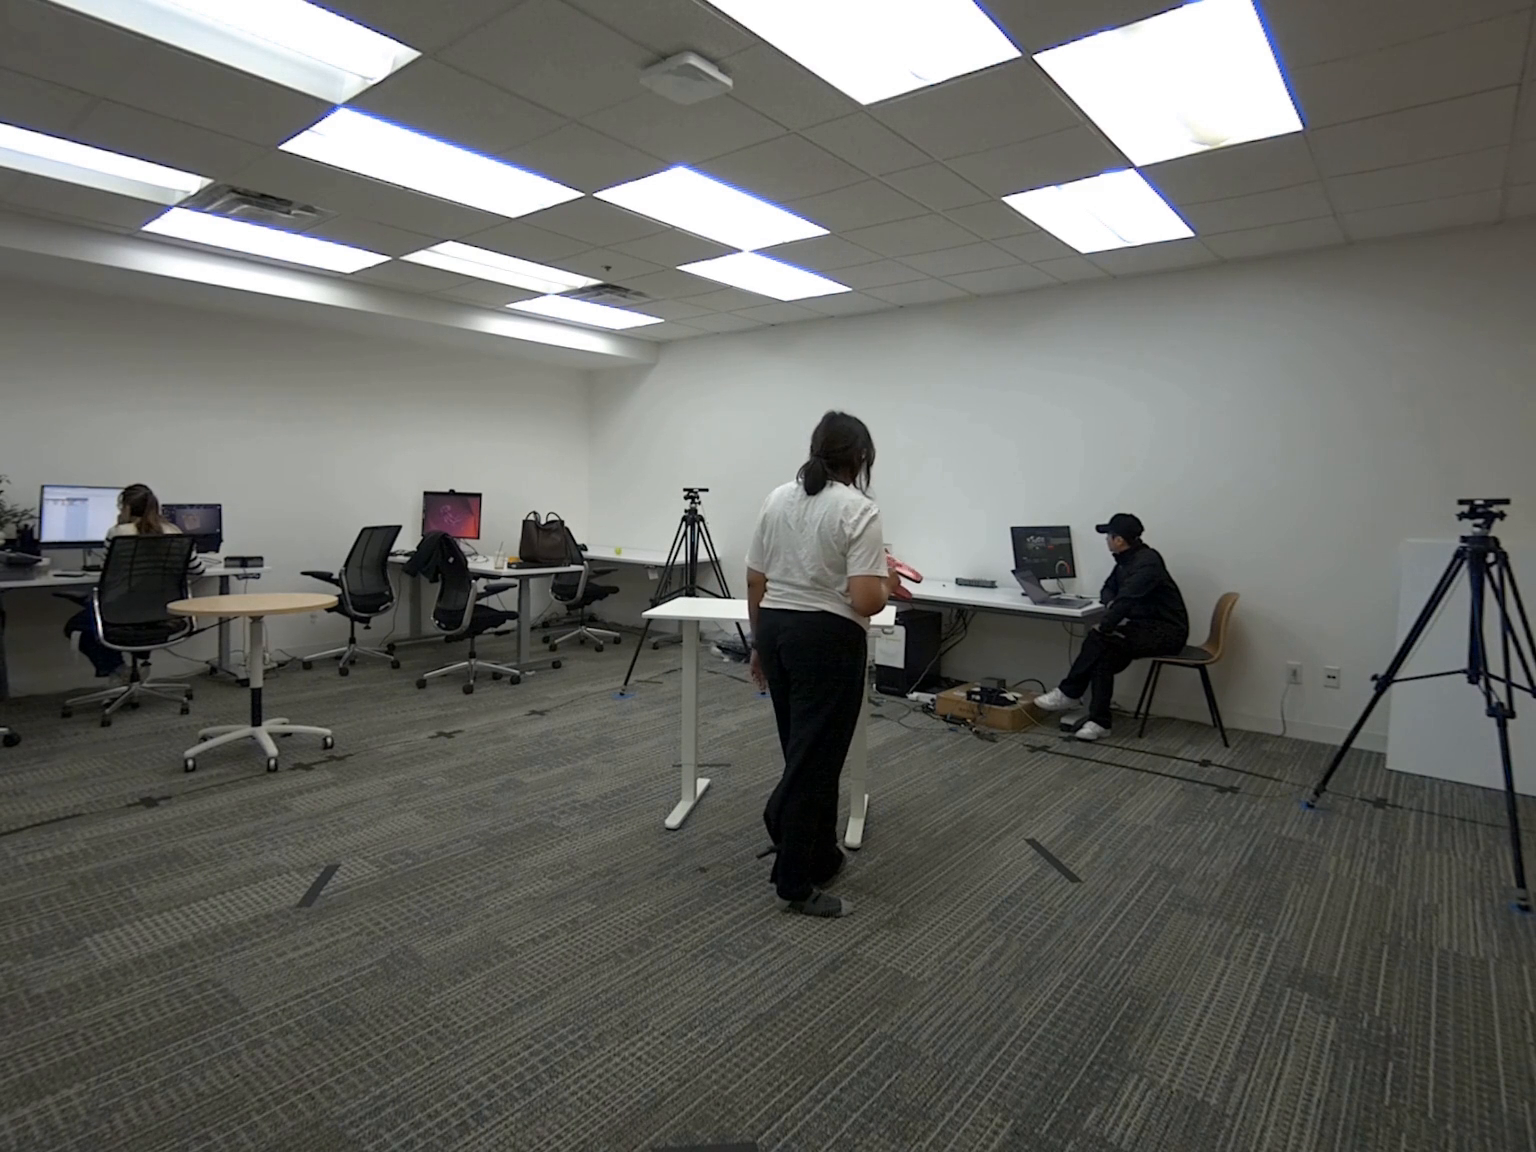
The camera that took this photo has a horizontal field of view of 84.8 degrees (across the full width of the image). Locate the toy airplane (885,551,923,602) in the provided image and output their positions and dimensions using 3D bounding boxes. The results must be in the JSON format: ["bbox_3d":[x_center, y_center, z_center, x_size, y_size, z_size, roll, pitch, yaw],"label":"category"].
[{"bbox_3d":[0.423,0.013,3.040,0.245,0.156,0.266,24,11,-18],"label":"toy airplane"}]
